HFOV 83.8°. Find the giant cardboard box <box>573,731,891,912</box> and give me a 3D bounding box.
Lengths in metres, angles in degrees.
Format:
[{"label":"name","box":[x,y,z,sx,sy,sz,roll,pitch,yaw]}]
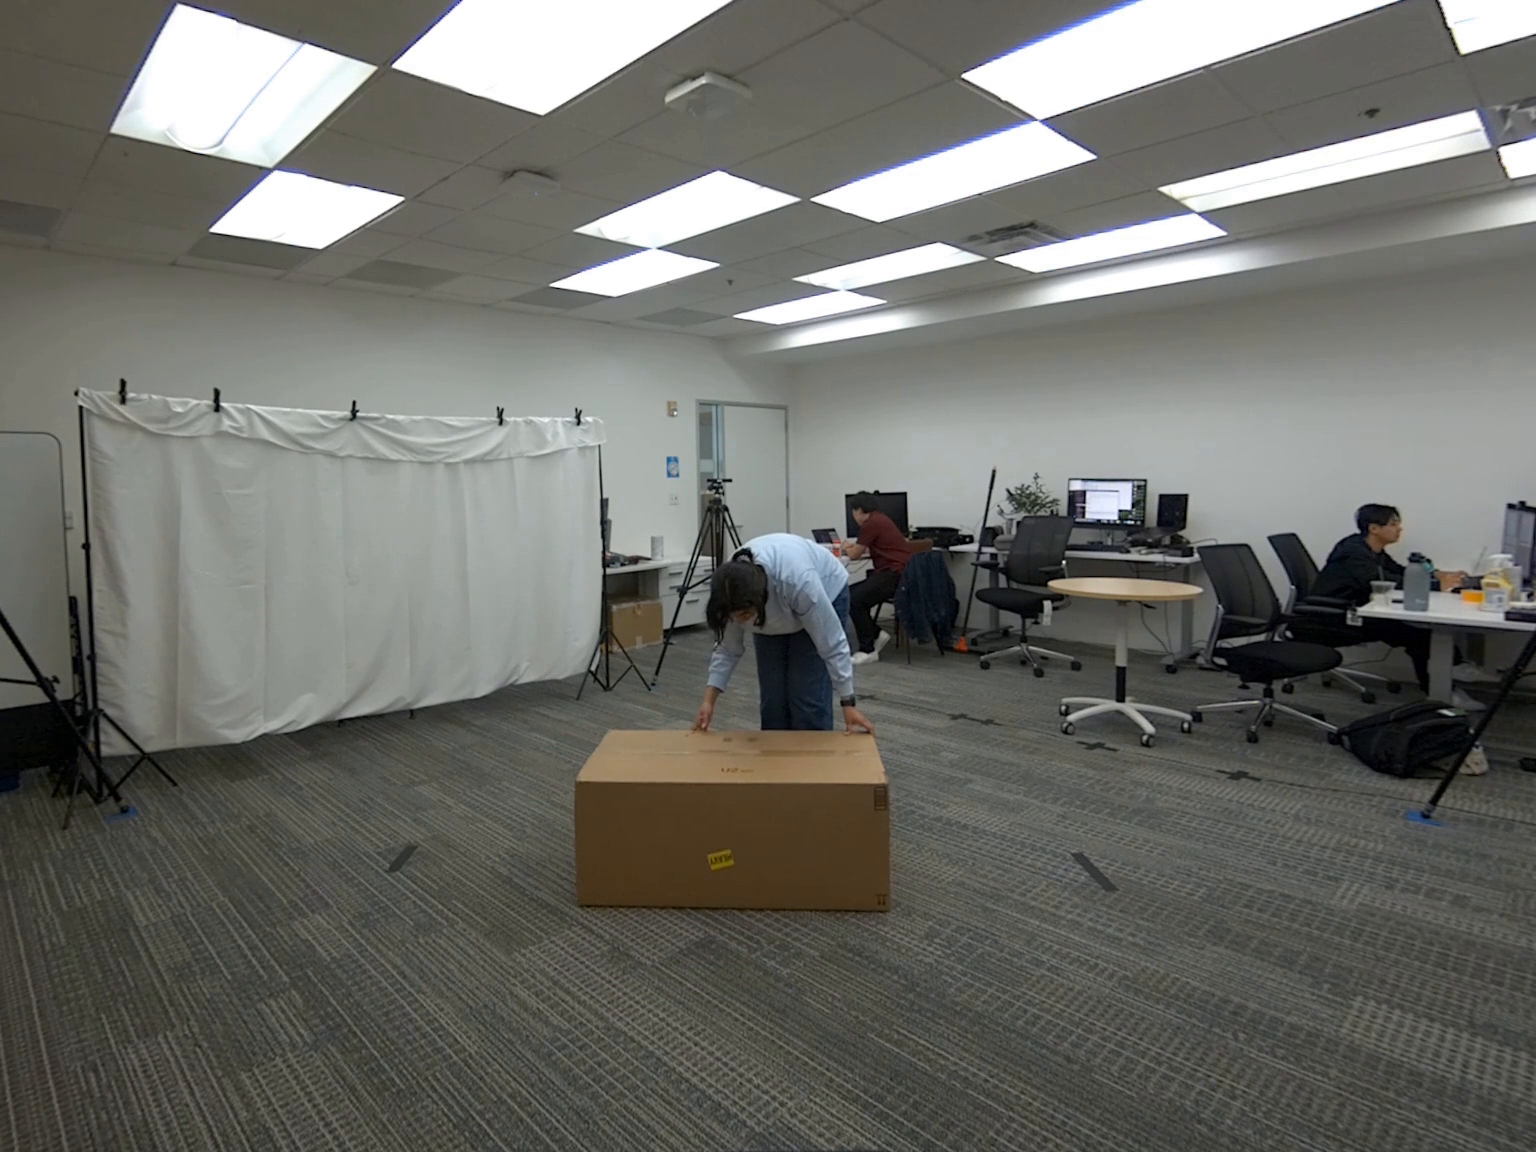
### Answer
[{"label":"giant cardboard box","box":[-0.117,0.841,3.042,1.029,0.425,0.578,0,5,3]}]
